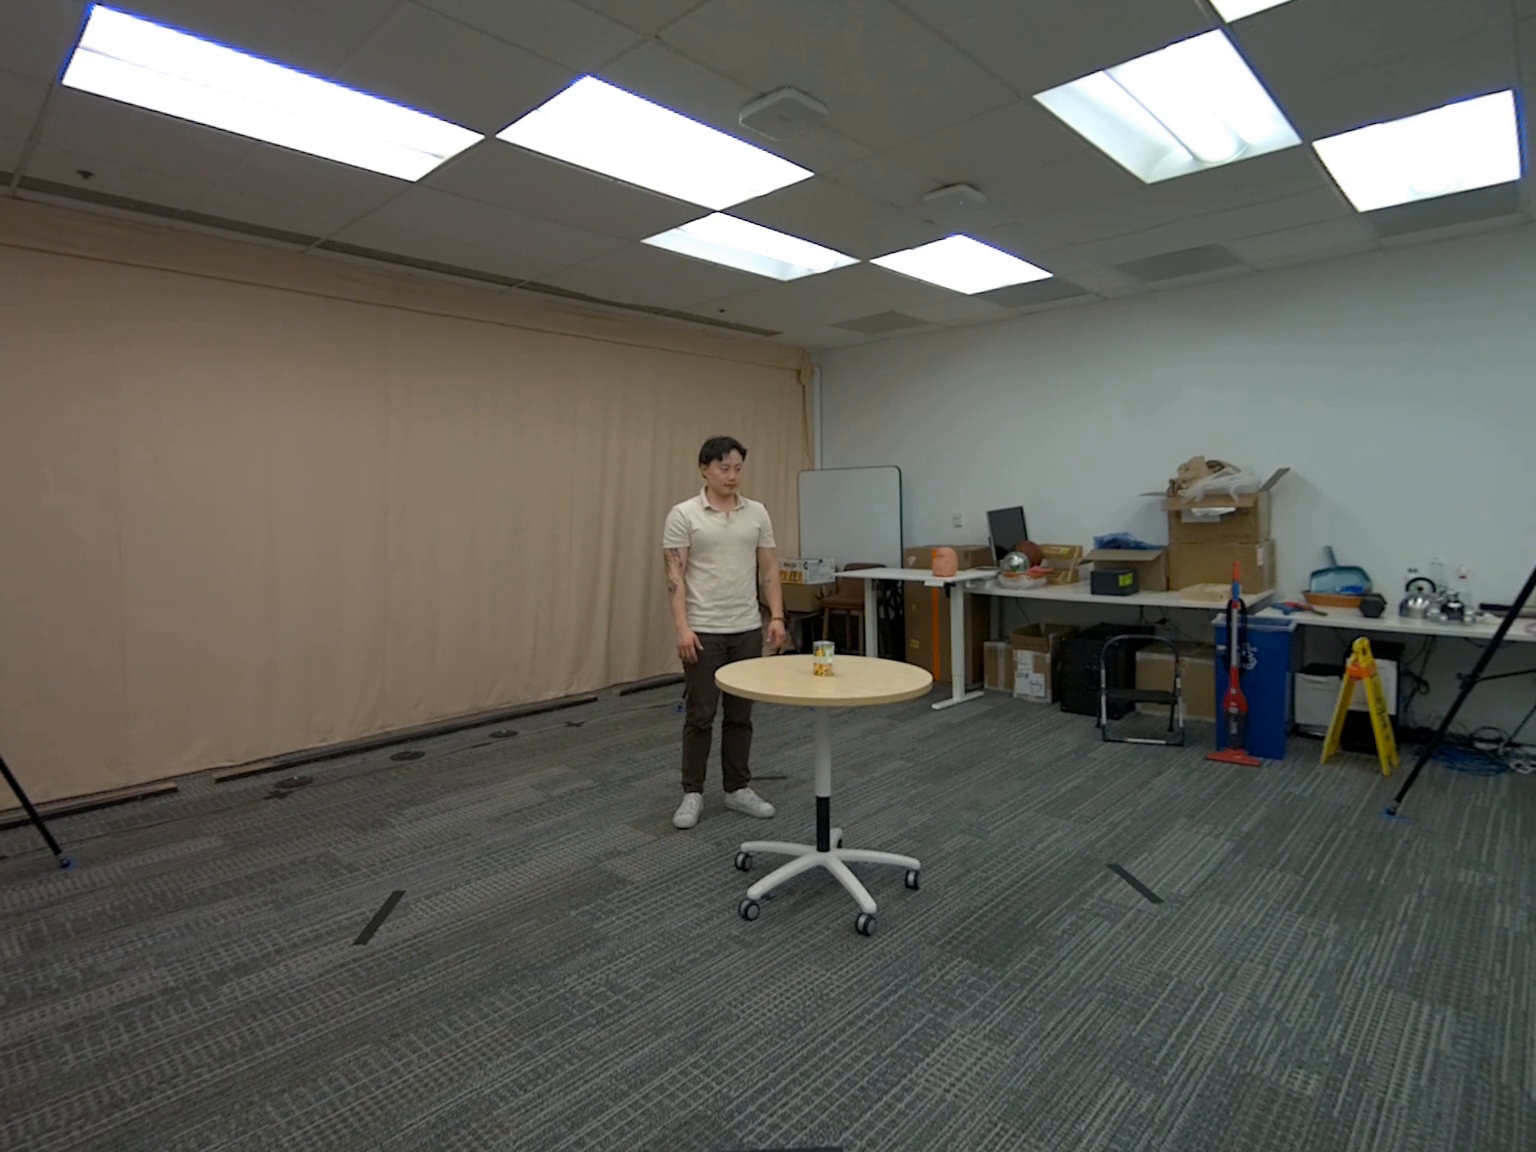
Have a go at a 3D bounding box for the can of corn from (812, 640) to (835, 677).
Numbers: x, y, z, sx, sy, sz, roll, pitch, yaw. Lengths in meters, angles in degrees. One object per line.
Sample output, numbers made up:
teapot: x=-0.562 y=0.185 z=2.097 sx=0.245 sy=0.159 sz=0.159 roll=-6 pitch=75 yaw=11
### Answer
can of corn: x=0.204 y=0.295 z=2.992 sx=0.074 sy=0.111 sz=0.074 roll=0 pitch=4 yaw=-2
